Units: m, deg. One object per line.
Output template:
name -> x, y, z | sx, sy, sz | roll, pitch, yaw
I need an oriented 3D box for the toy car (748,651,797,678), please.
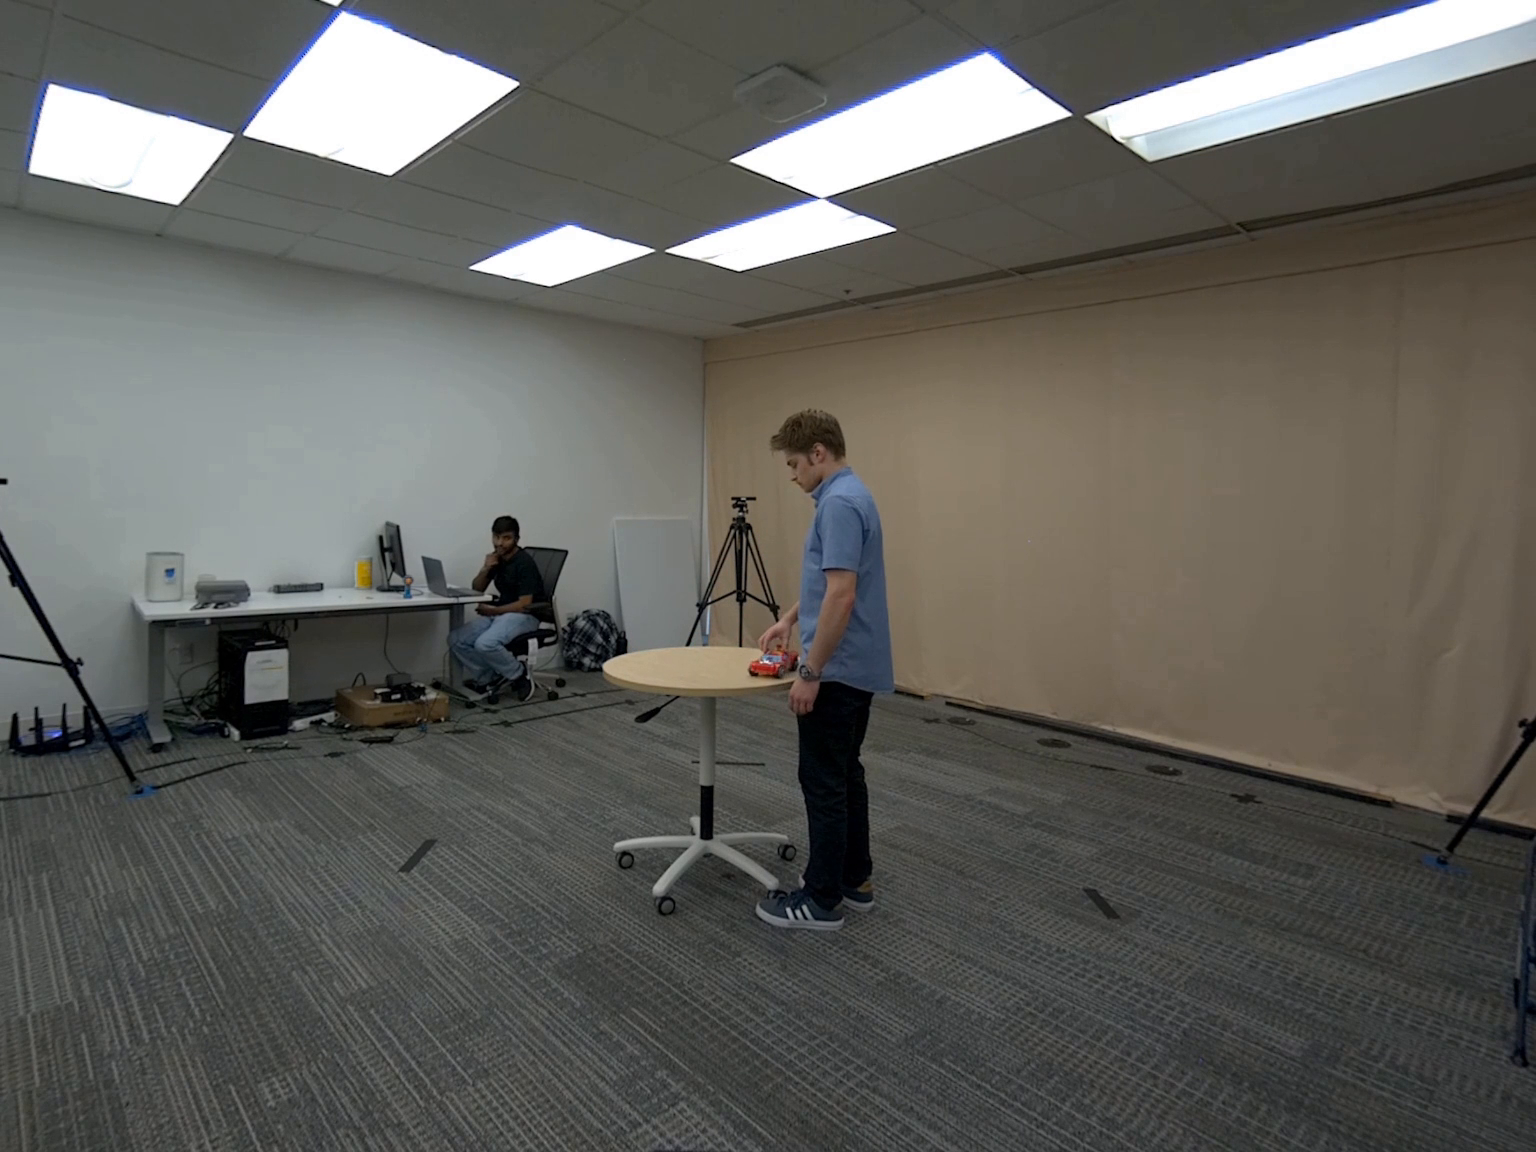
toy car -> 0.018, 0.306, 2.958 | 0.132, 0.082, 0.253 | 2, 16, 23
